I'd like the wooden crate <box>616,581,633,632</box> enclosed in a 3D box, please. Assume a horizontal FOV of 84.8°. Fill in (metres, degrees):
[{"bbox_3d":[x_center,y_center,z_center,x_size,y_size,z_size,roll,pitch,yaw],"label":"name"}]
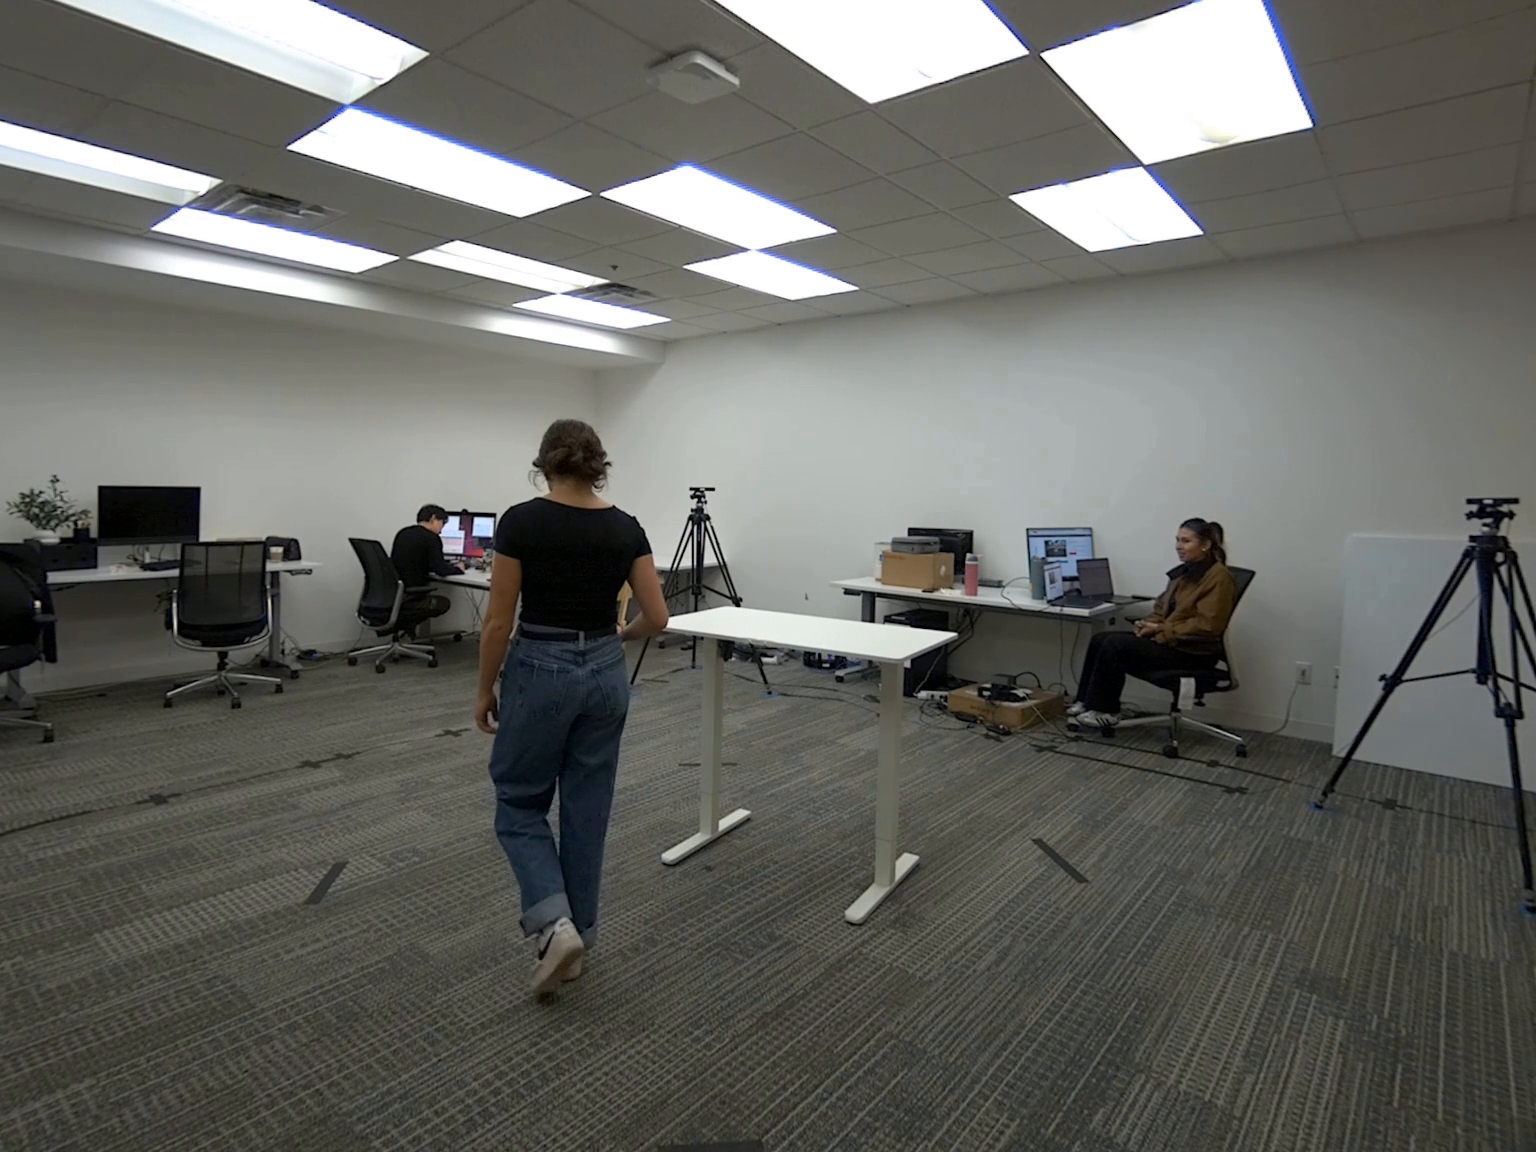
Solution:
[{"bbox_3d":[-0.639,0.106,2.730,0.329,0.273,0.299,4,4,11],"label":"wooden crate"}]
